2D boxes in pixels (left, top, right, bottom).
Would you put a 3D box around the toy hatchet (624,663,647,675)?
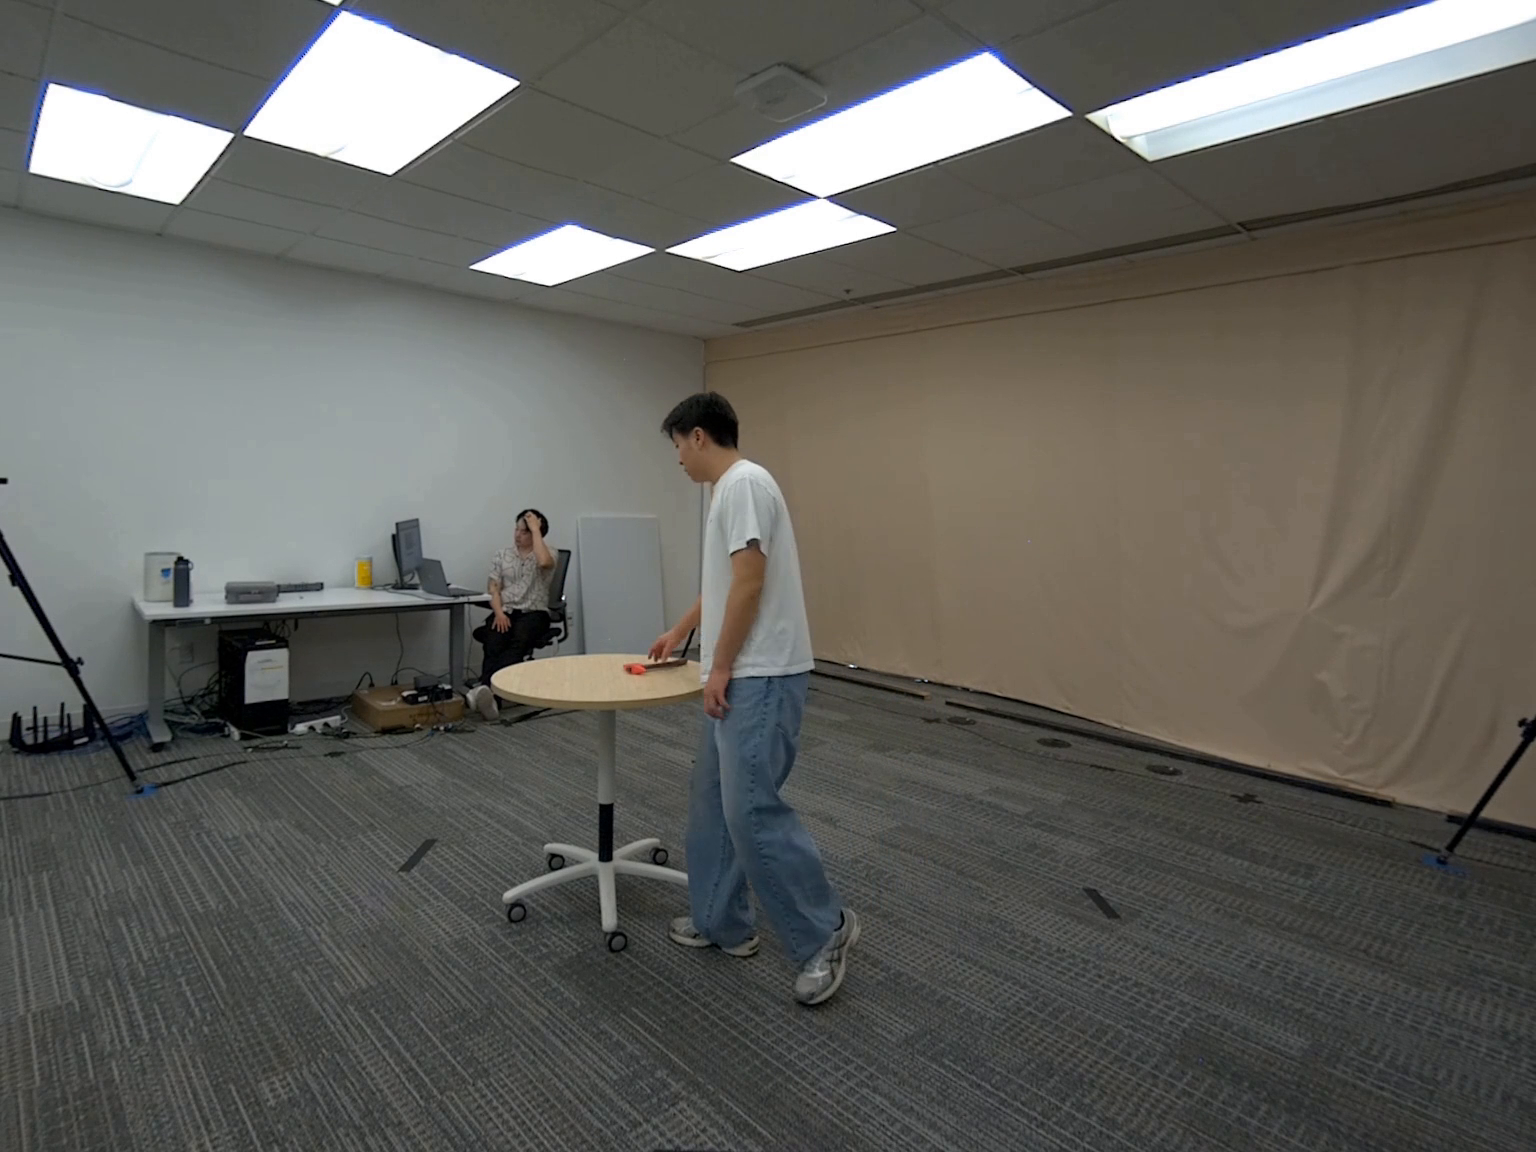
[{"bbox_3d":[-0.420,0.318,2.983,0.134,0.029,0.264,0,2,30],"label":"toy hatchet"}]
